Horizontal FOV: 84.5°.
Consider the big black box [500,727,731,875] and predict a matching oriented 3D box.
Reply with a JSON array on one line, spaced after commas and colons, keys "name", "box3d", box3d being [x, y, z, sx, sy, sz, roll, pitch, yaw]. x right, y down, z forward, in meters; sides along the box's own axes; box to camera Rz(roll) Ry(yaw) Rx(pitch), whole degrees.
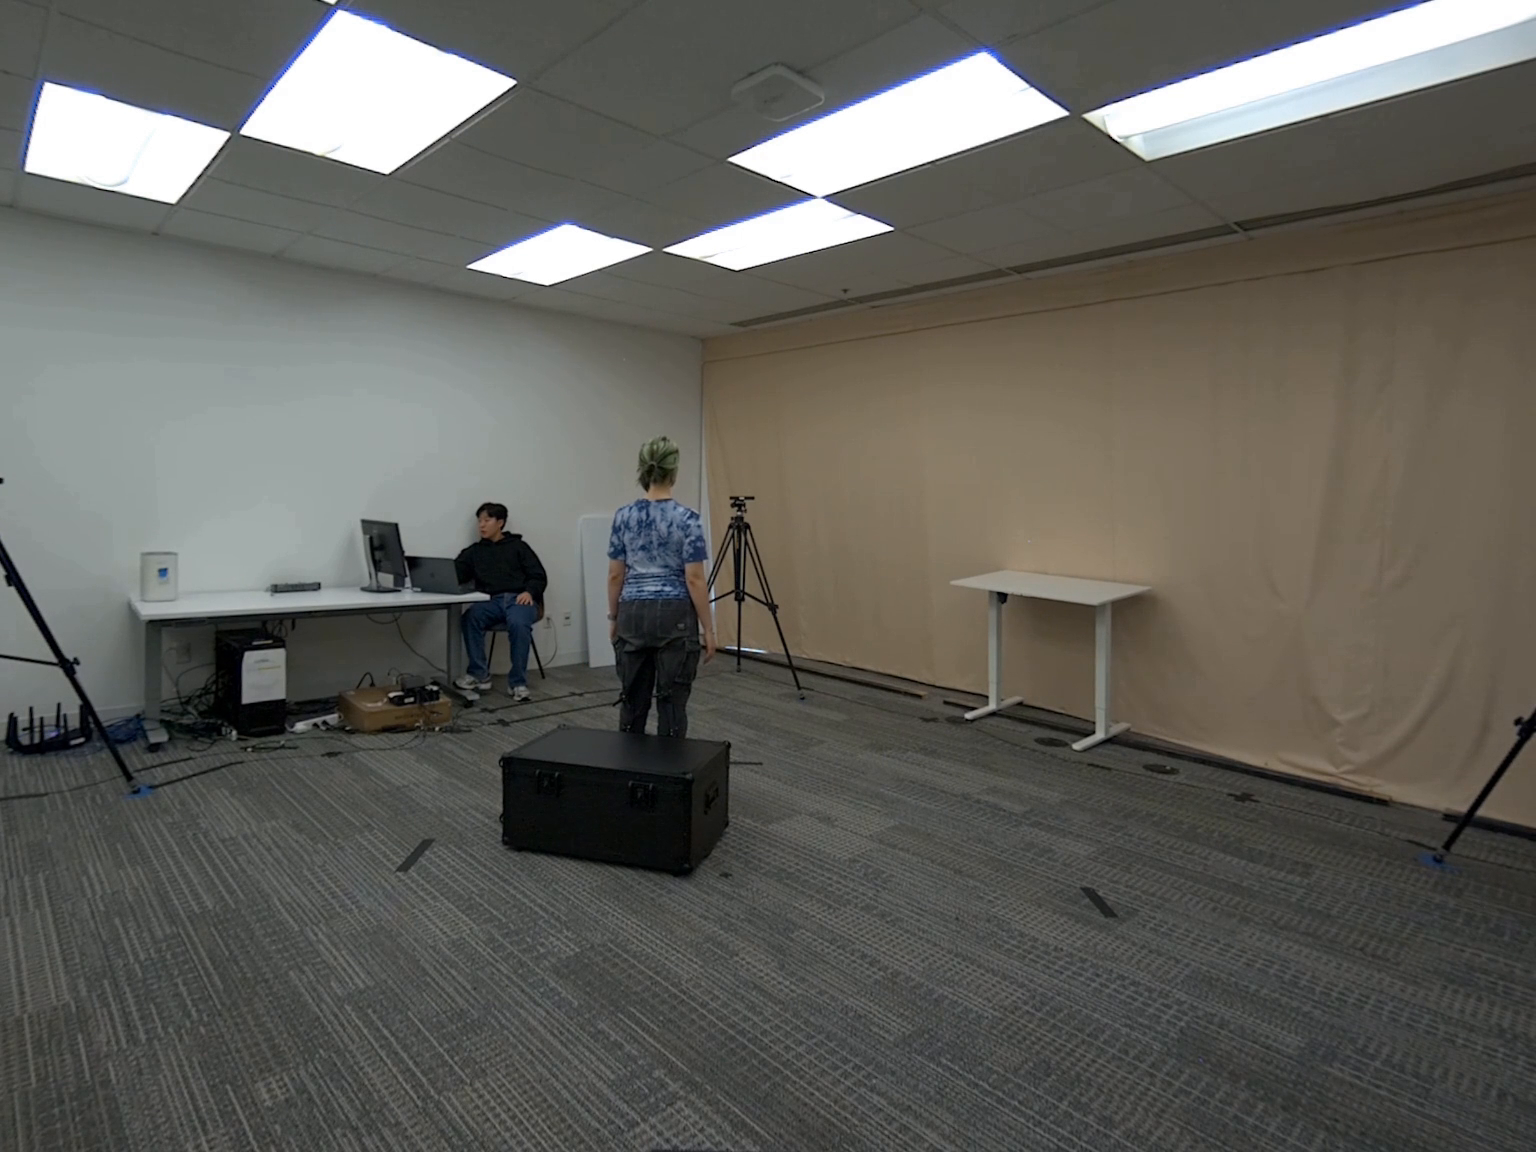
[{"name": "big black box", "box3d": [-0.631, 0.872, 3.392, 0.873, 0.395, 0.516, 4, 5, 16]}]
